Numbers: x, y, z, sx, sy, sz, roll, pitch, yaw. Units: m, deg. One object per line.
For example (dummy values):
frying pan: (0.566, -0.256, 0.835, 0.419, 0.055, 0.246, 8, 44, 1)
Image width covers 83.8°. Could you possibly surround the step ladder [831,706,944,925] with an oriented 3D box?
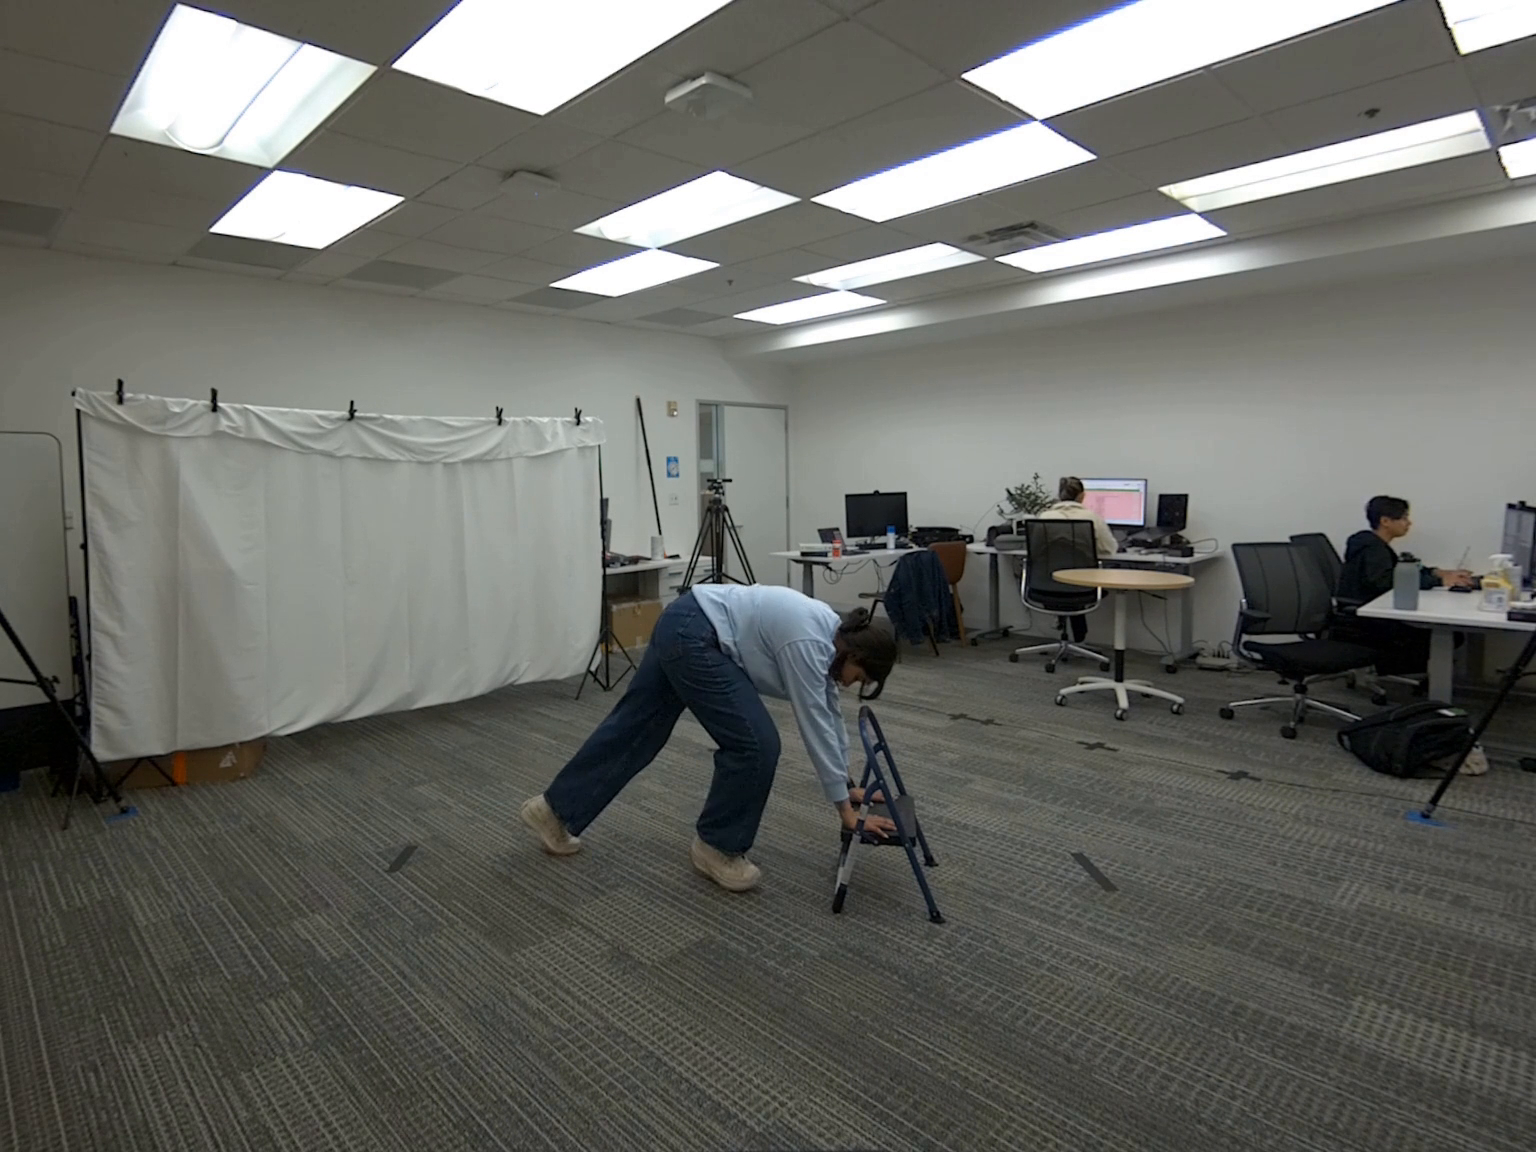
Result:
step ladder: (0.403, 0.757, 2.889, 0.353, 0.604, 0.428, 0, 4, 9)
